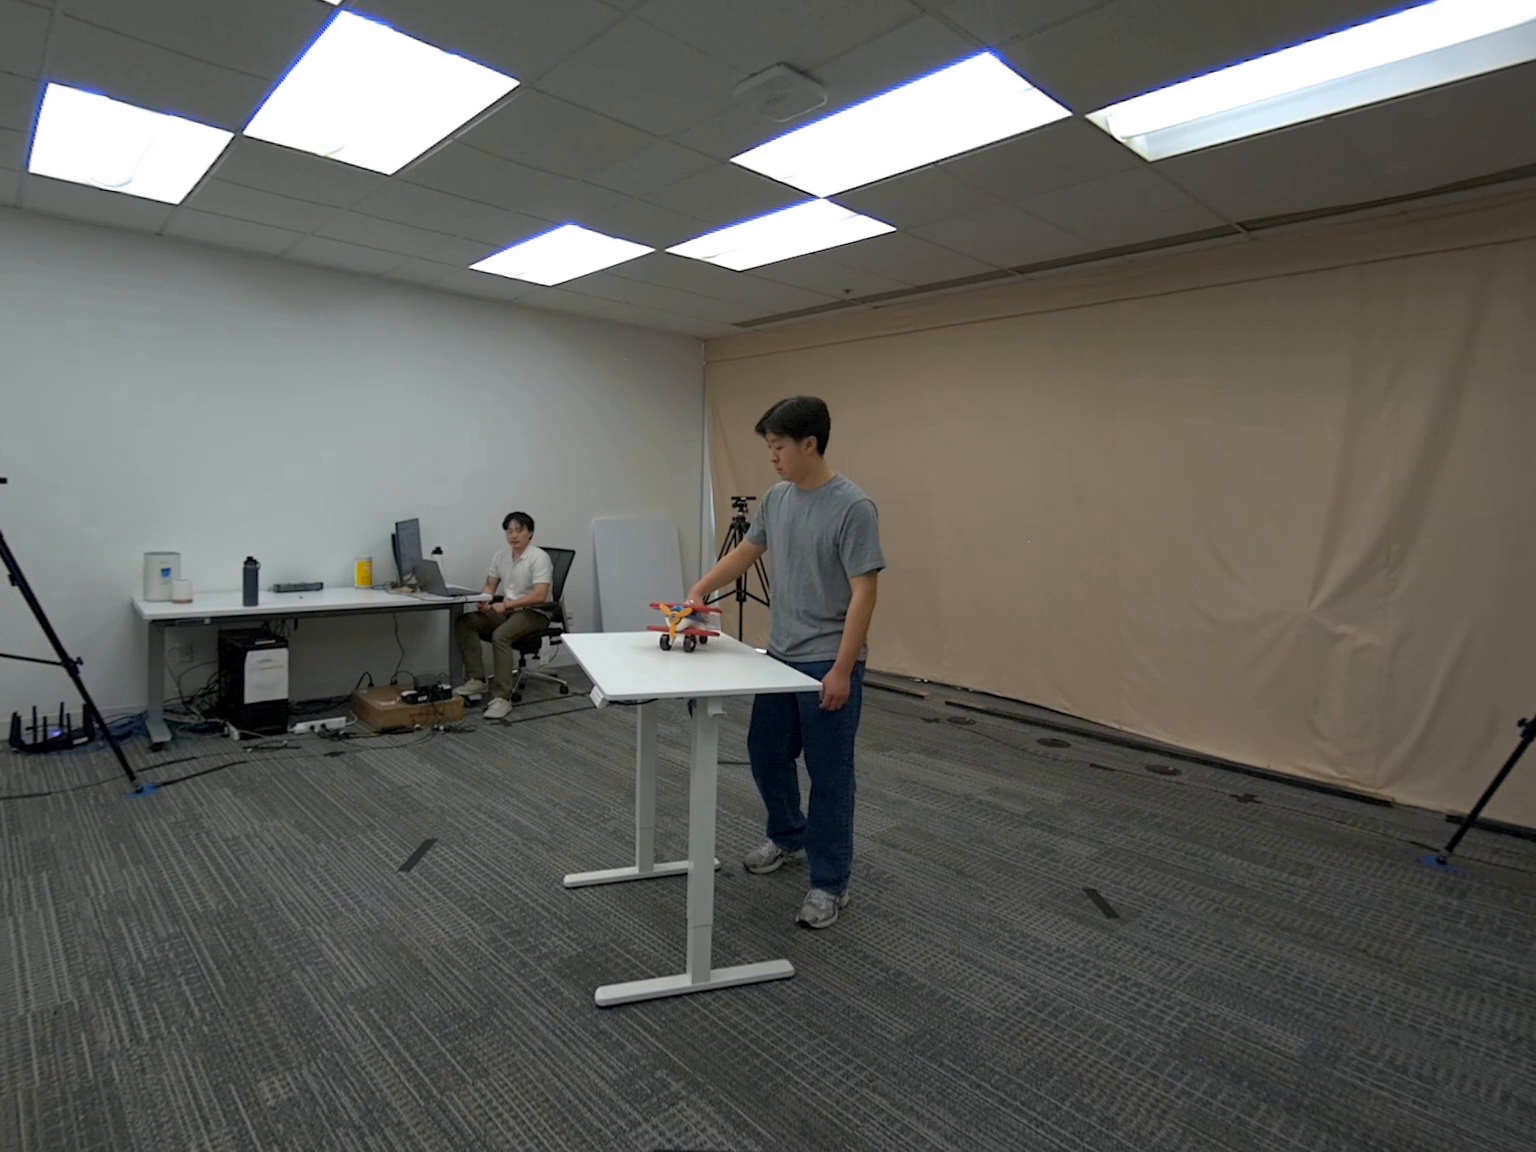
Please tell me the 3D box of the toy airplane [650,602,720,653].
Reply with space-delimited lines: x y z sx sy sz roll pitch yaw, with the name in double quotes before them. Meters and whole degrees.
"toy airplane" -0.293 0.166 2.860 0.249 0.156 0.262 2 5 -8
